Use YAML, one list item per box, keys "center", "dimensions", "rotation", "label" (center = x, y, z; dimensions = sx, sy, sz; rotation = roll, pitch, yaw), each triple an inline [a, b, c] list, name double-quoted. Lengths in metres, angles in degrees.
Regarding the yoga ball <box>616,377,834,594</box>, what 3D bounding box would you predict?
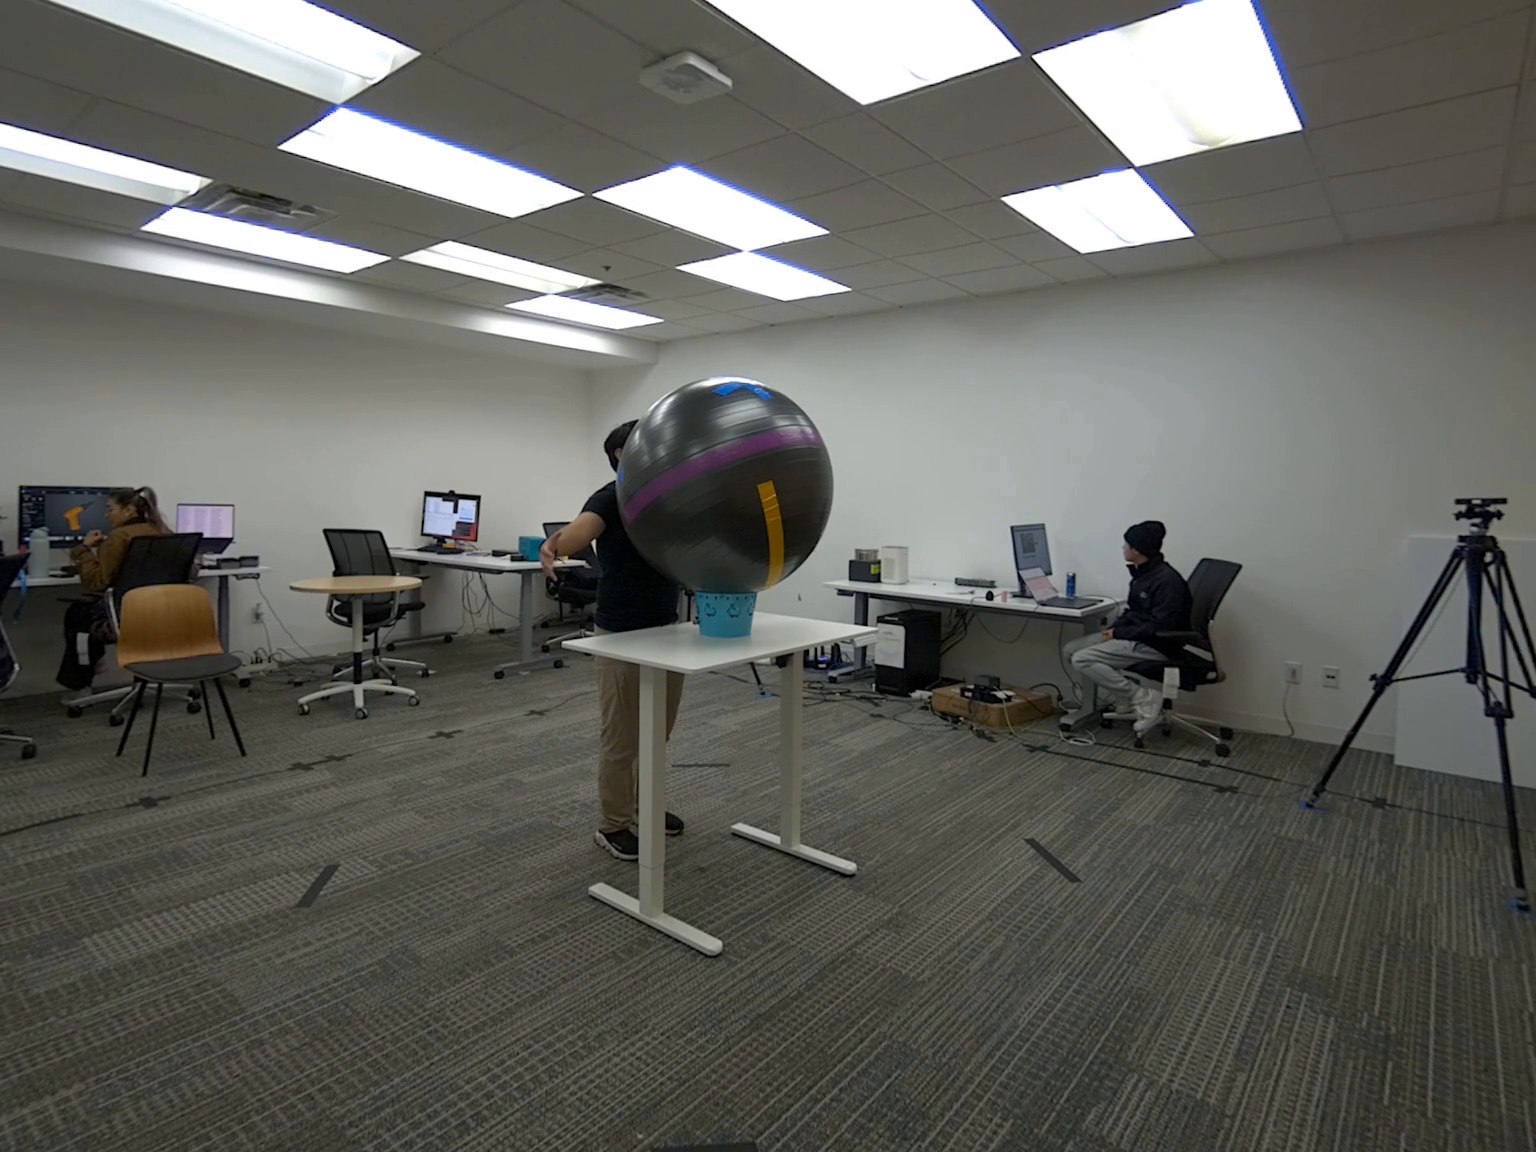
- center: [-0.158, -0.309, 2.967]
  dimensions: [0.757, 0.755, 0.762]
  rotation: [1, 4, -2]
  label: "yoga ball"
